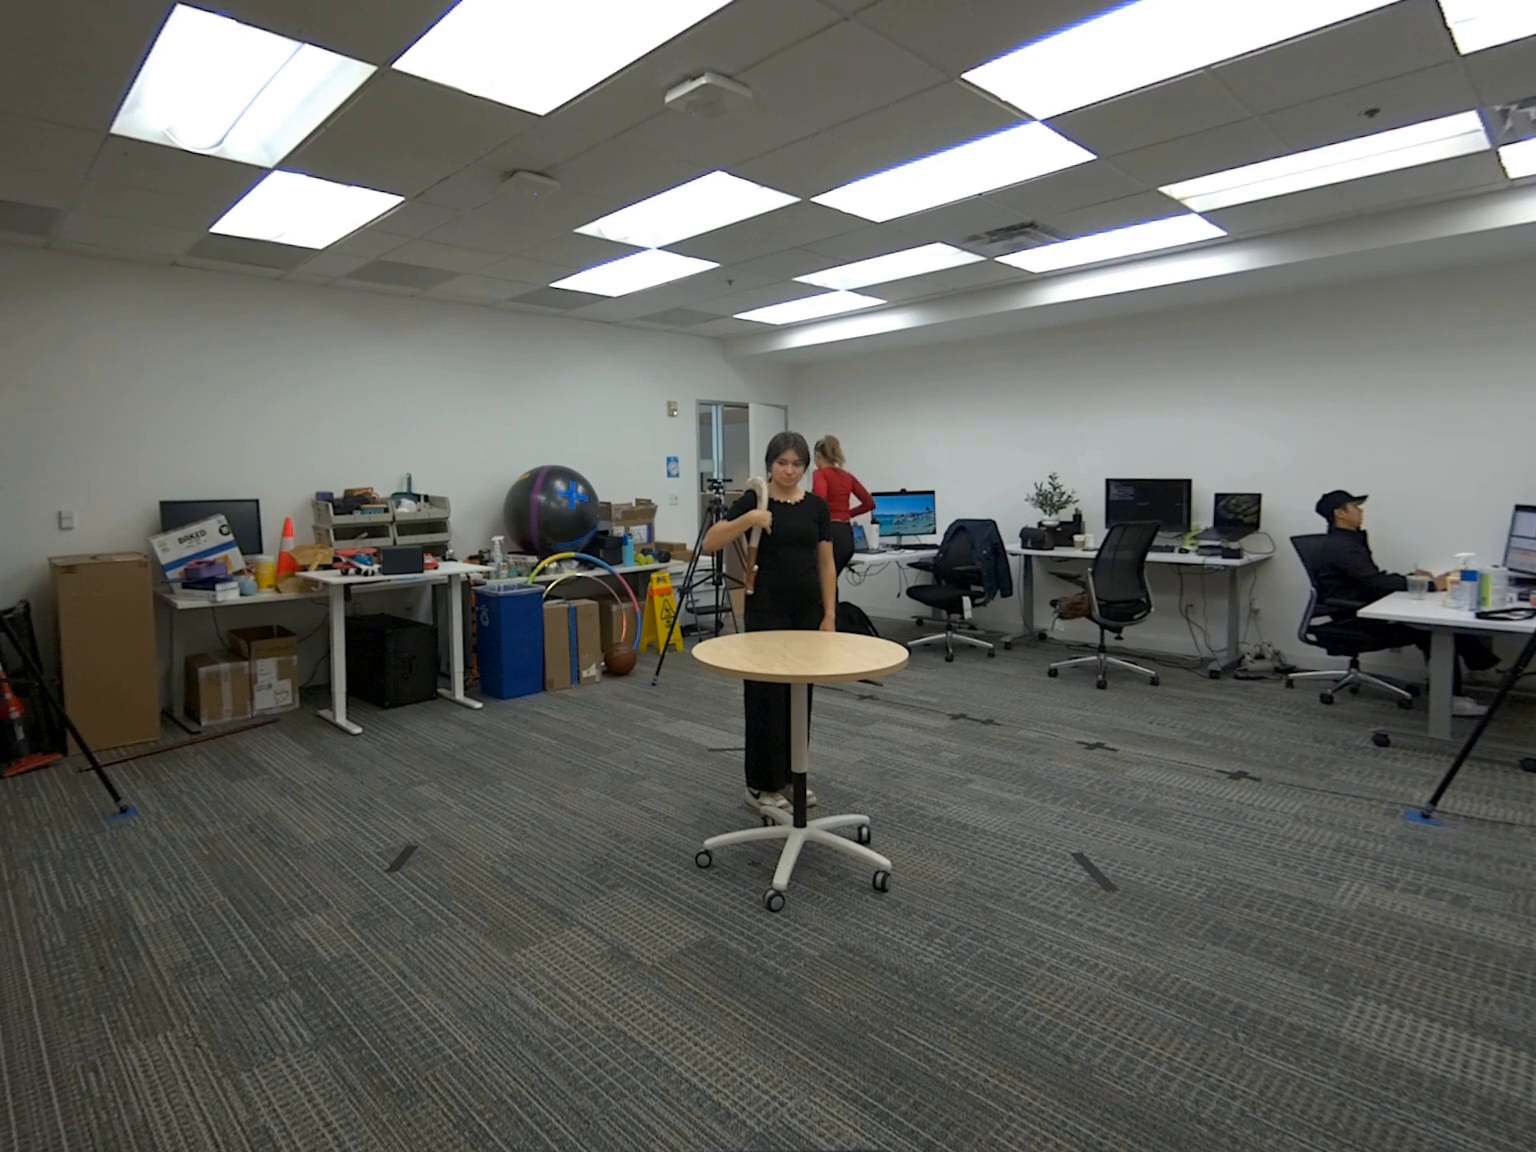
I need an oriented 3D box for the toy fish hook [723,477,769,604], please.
[{"bbox_3d":[-0.082,-0.172,3.625,0.047,0.509,0.229,10,-7,-25],"label":"toy fish hook"}]
